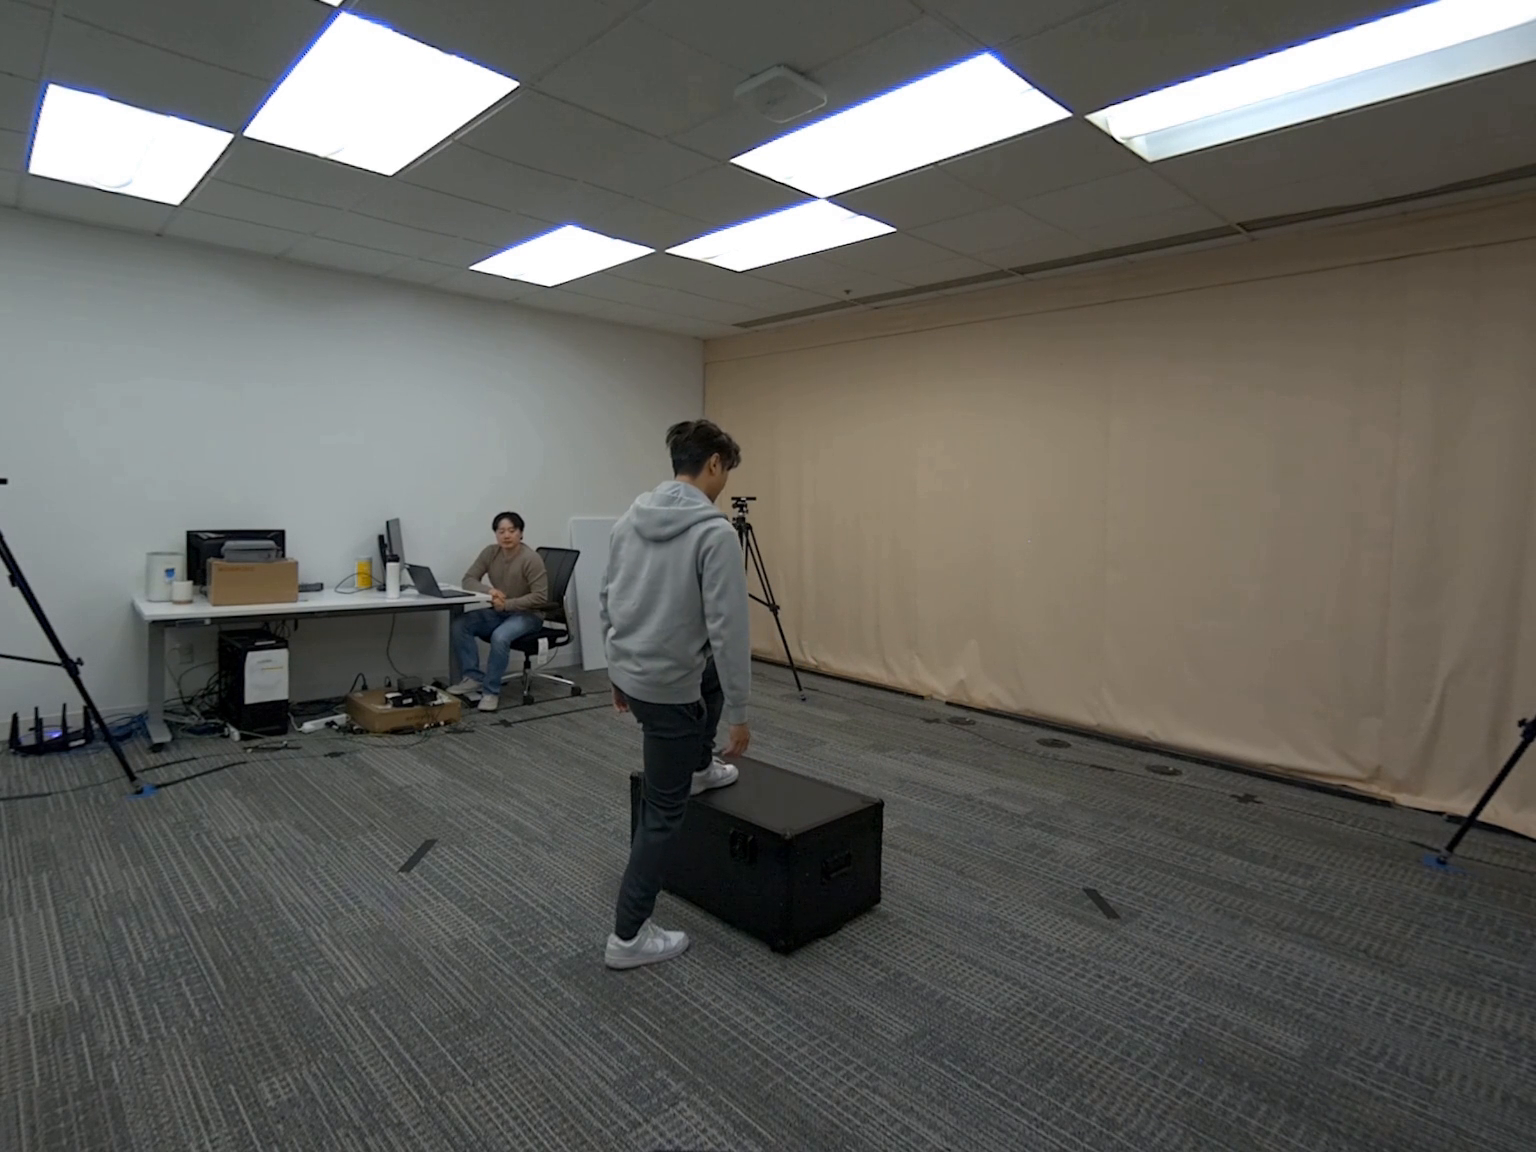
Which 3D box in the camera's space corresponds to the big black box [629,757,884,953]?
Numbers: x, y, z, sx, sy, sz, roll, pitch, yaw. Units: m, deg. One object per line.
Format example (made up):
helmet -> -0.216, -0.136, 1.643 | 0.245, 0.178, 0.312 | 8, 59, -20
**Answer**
big black box -> -0.086, 0.927, 2.999 | 0.884, 0.395, 0.509 | 7, 7, 44
